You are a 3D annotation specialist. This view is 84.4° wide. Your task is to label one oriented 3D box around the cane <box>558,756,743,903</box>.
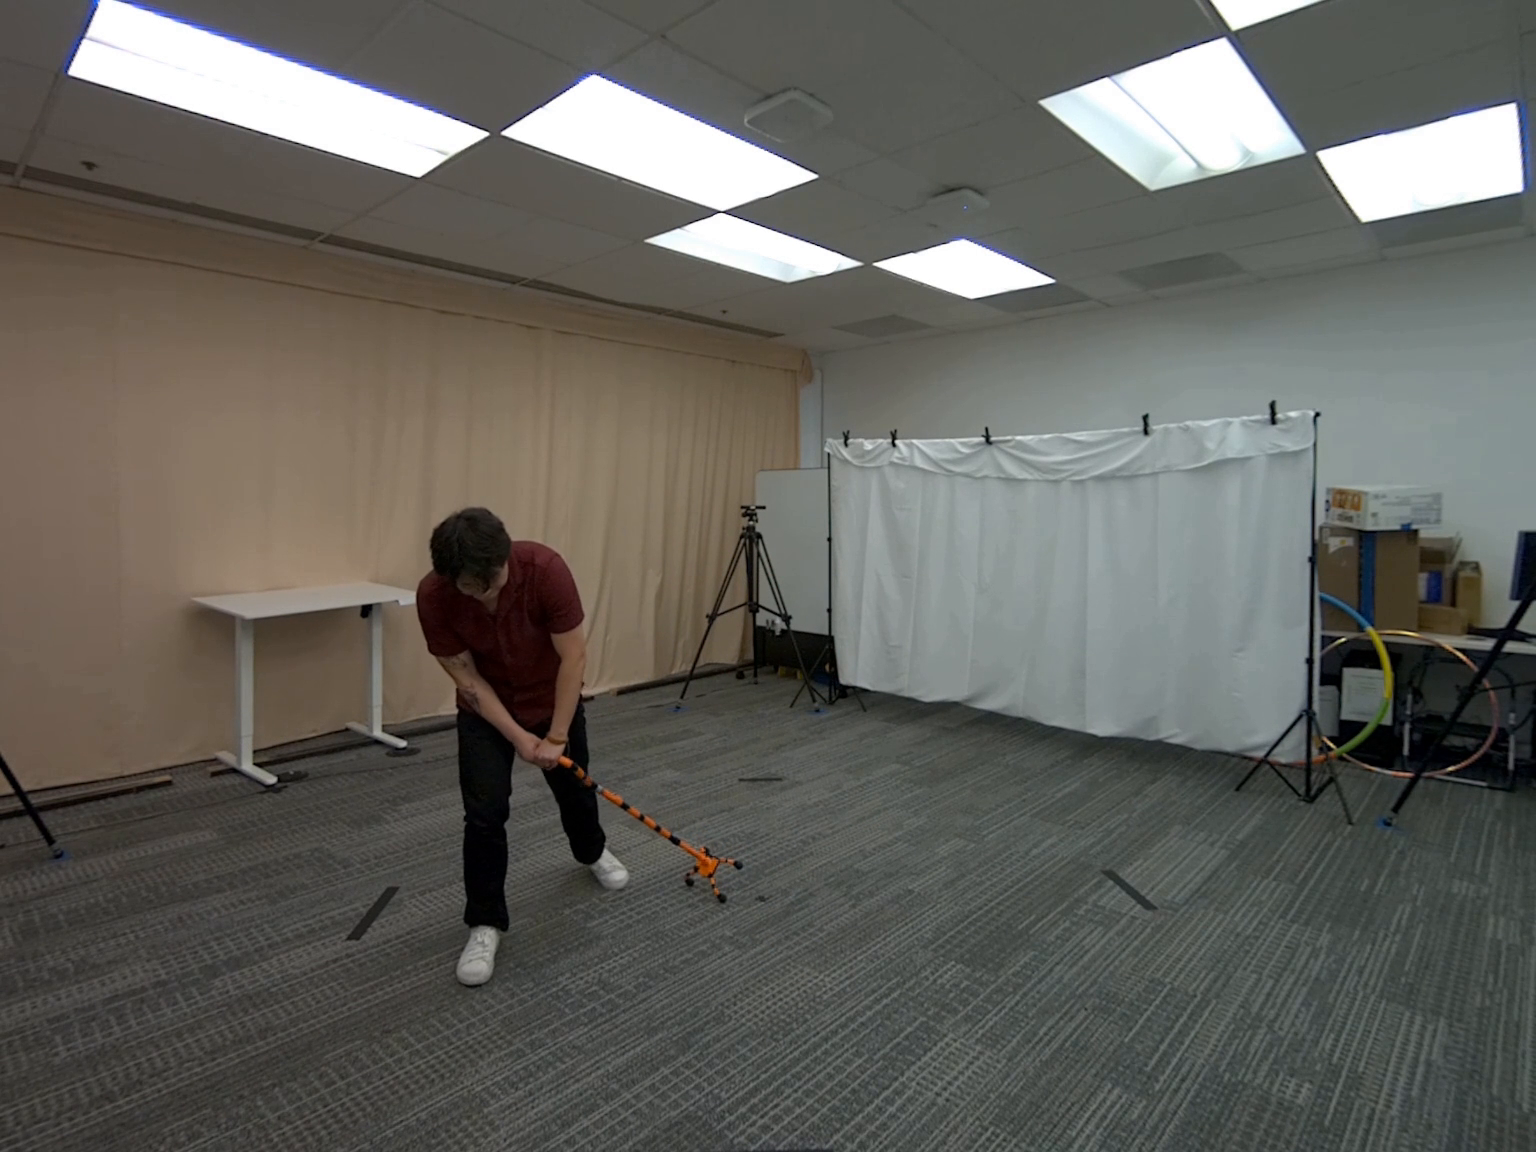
[{"bbox_3d":[-0.430,0.818,2.797,0.213,0.152,0.878,-1,-37,45],"label":"cane"}]
